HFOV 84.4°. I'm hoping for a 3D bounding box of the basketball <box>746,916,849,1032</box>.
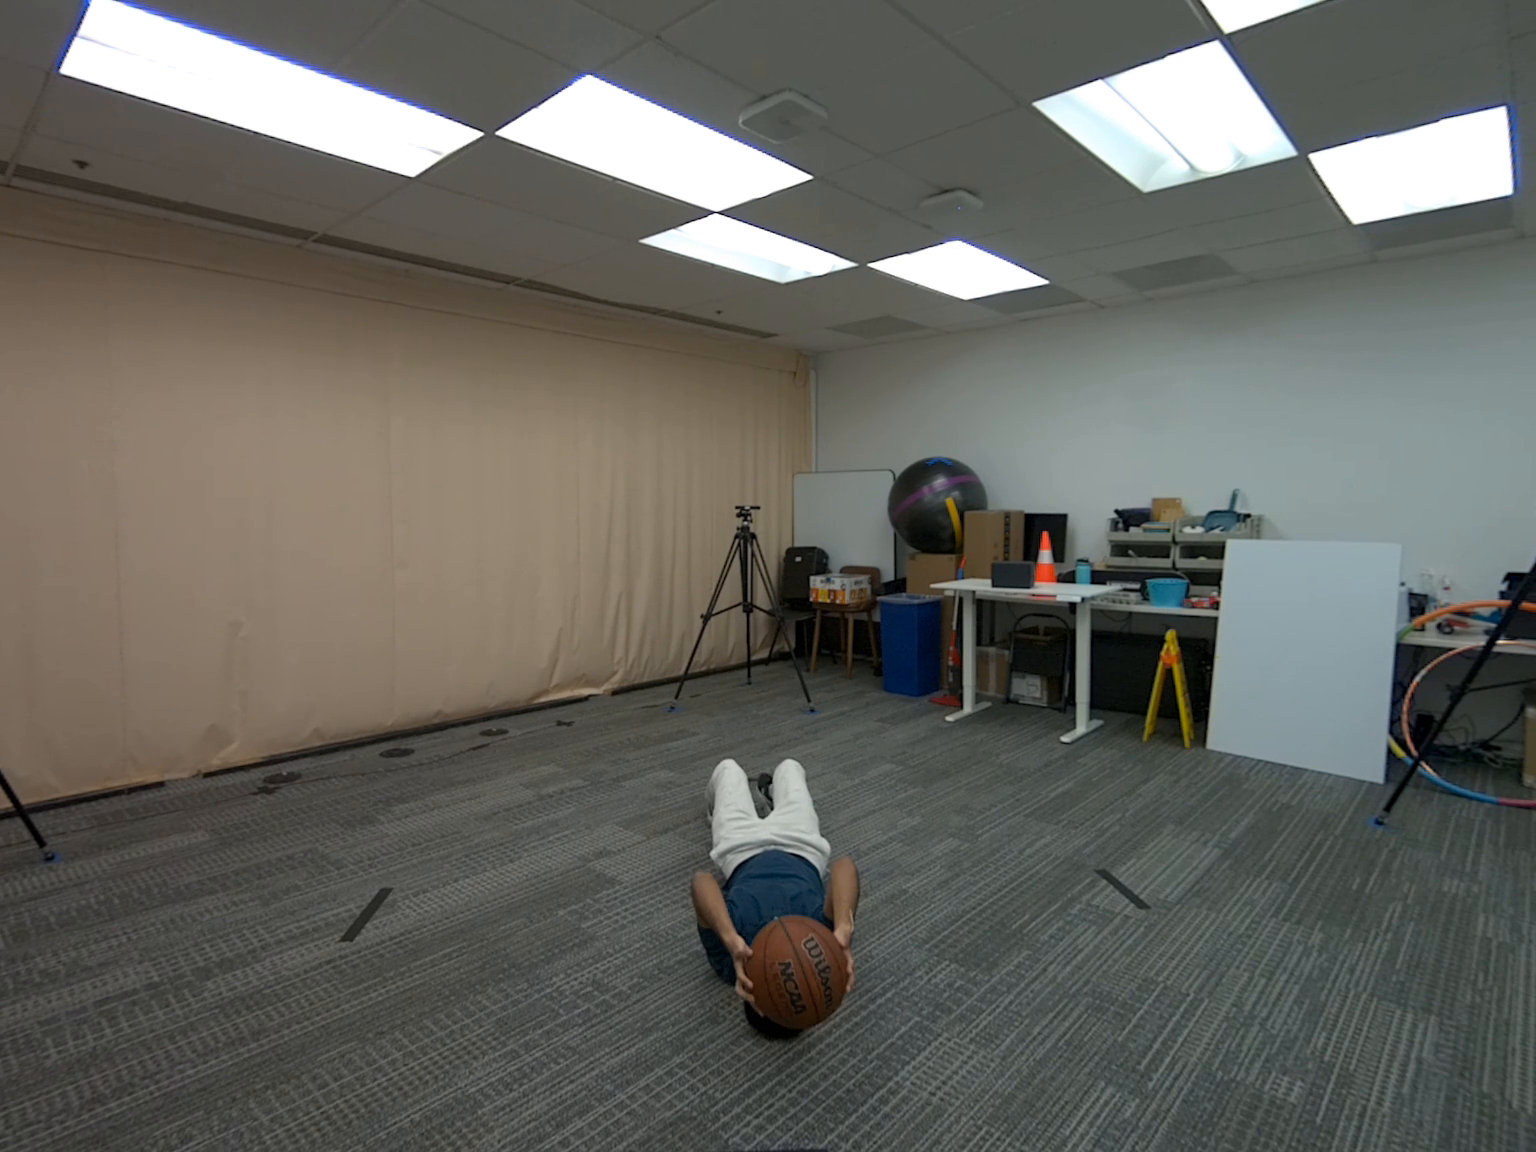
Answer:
[{"bbox_3d":[0.073,0.922,1.980,0.236,0.235,0.237,0,4,-2],"label":"basketball"}]
